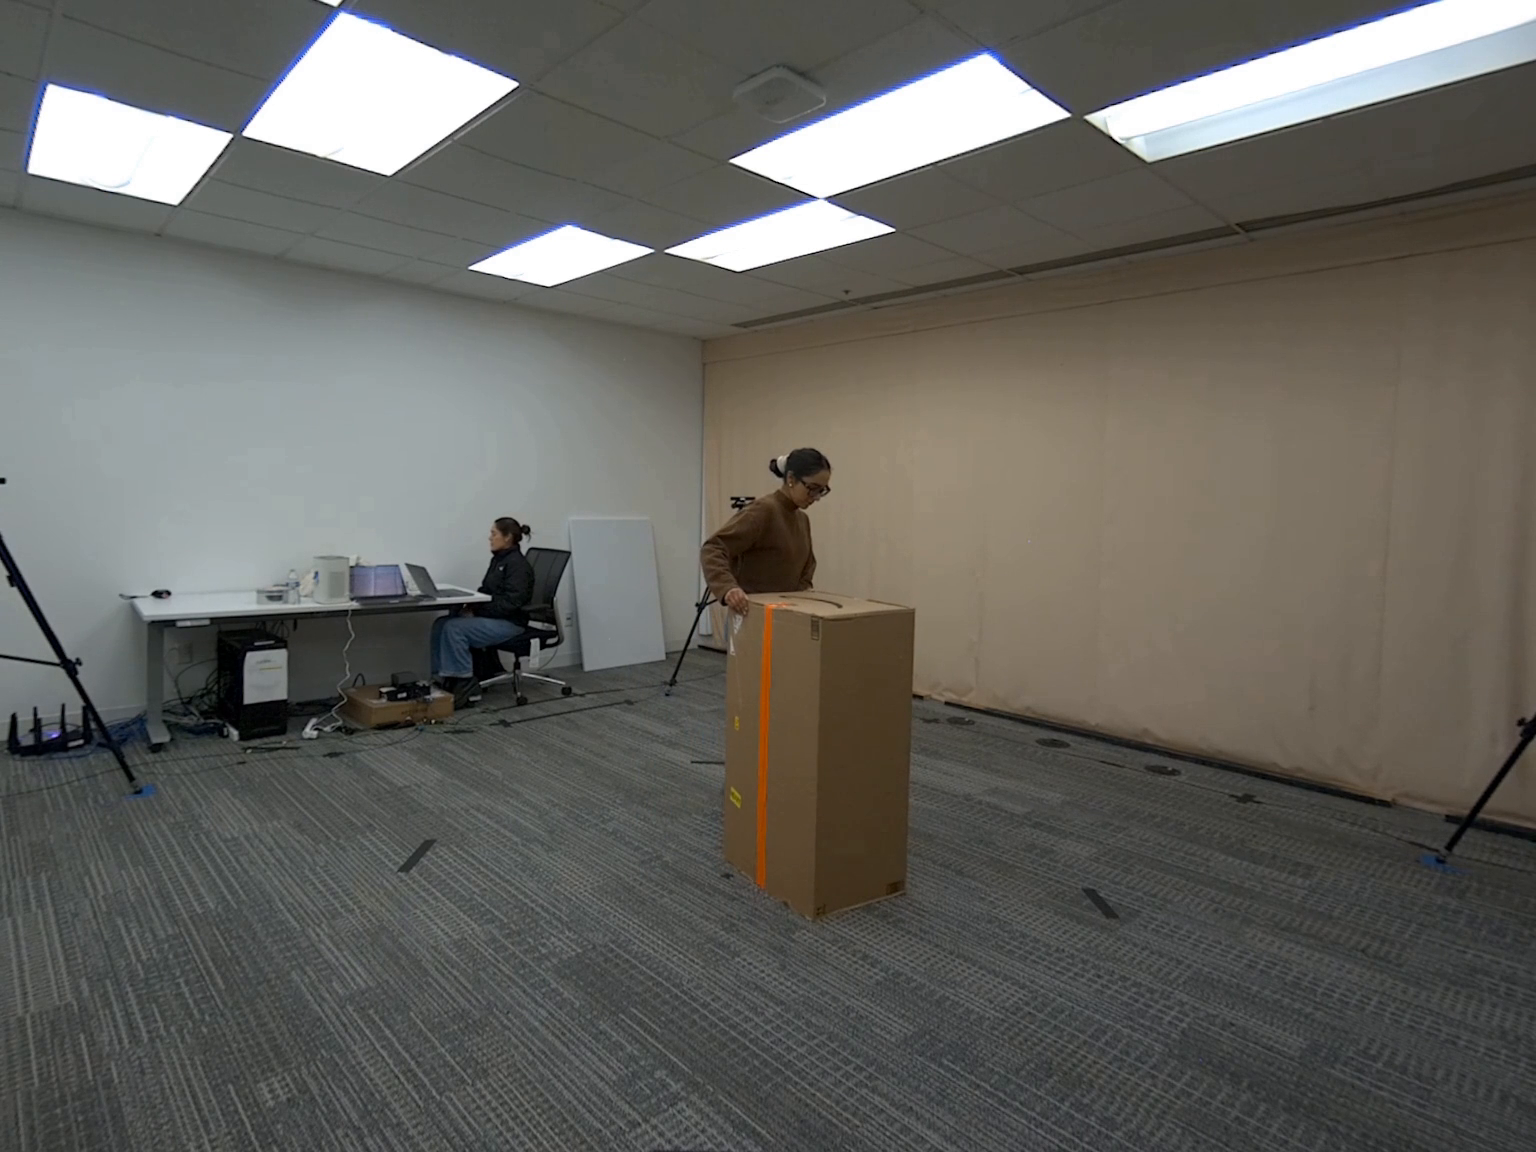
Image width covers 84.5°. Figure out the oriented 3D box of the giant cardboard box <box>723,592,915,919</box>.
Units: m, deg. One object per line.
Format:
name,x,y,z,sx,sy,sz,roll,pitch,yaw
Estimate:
giant cardboard box,0.168,0.607,3.087,0.417,1.023,0.591,-1,4,-32
